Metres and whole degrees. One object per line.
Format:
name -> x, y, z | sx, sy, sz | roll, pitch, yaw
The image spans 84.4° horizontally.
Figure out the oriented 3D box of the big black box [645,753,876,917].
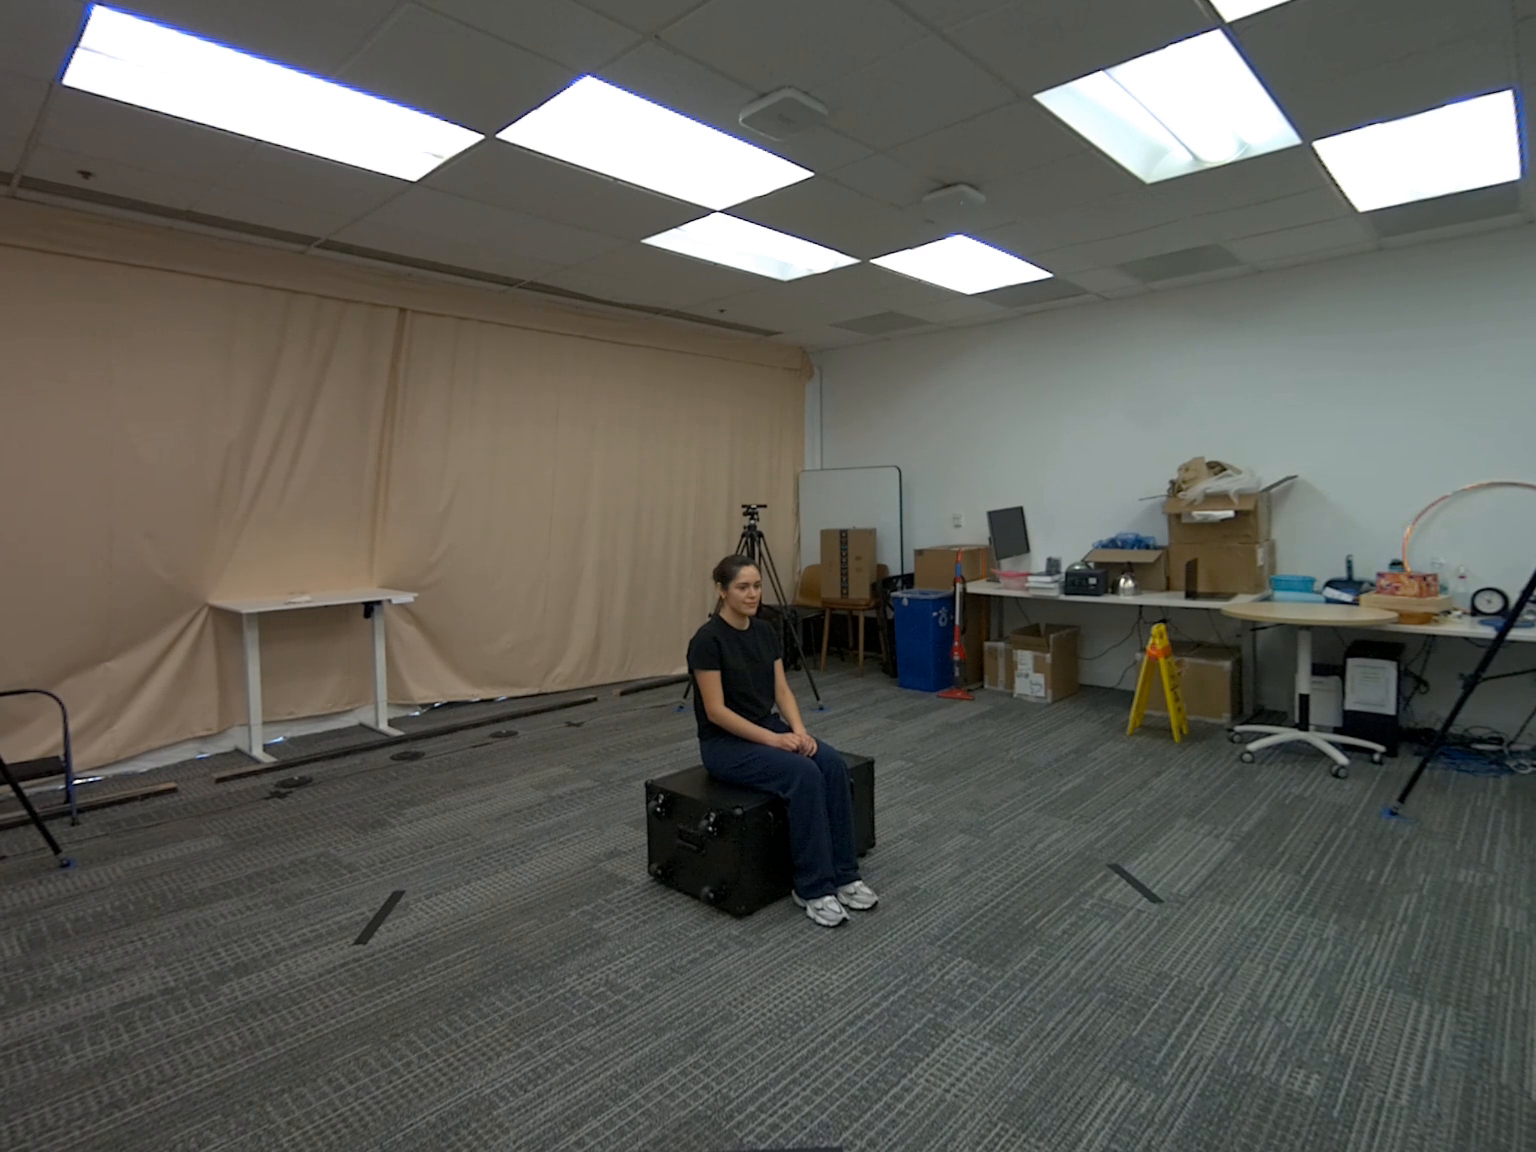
big black box -> -0.024, 0.933, 3.217 | 0.538, 0.395, 0.835 | 2, 5, 43
